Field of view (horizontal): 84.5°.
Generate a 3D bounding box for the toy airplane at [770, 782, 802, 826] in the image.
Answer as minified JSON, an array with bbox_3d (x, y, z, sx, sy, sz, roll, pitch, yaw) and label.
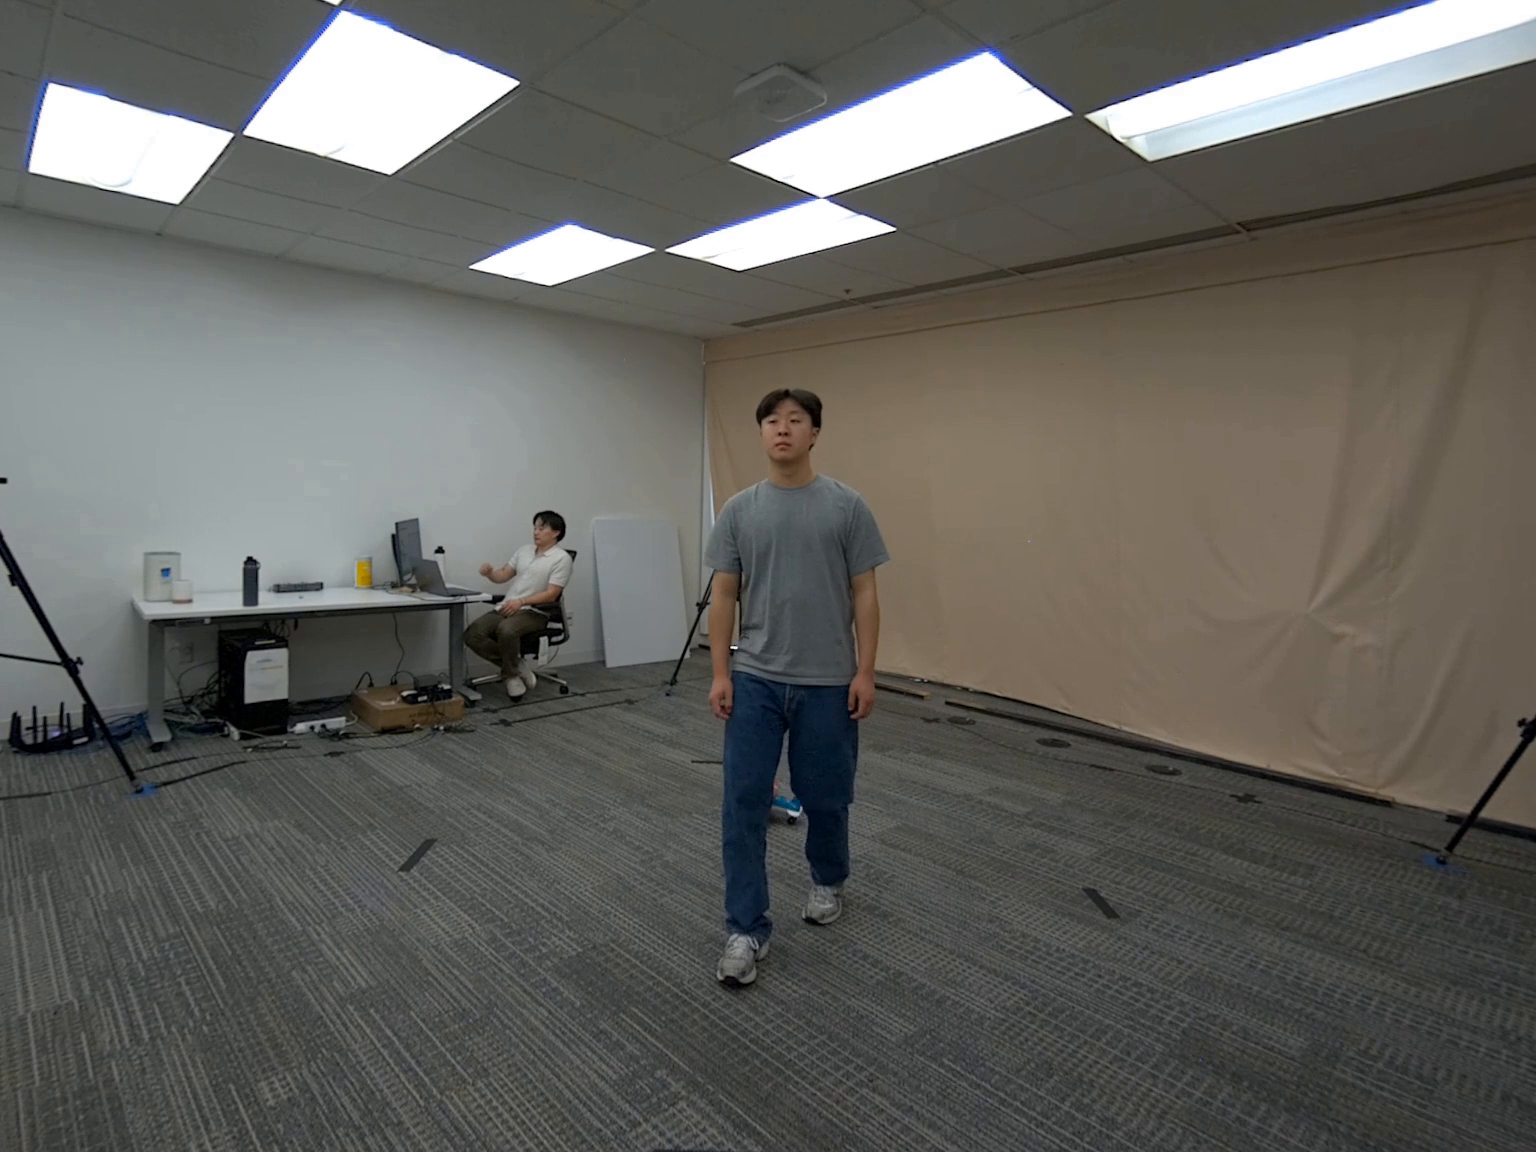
[{"bbox_3d":[0.015,0.993,3.669,0.256,0.156,0.254,0,5,-14],"label":"toy airplane"}]
